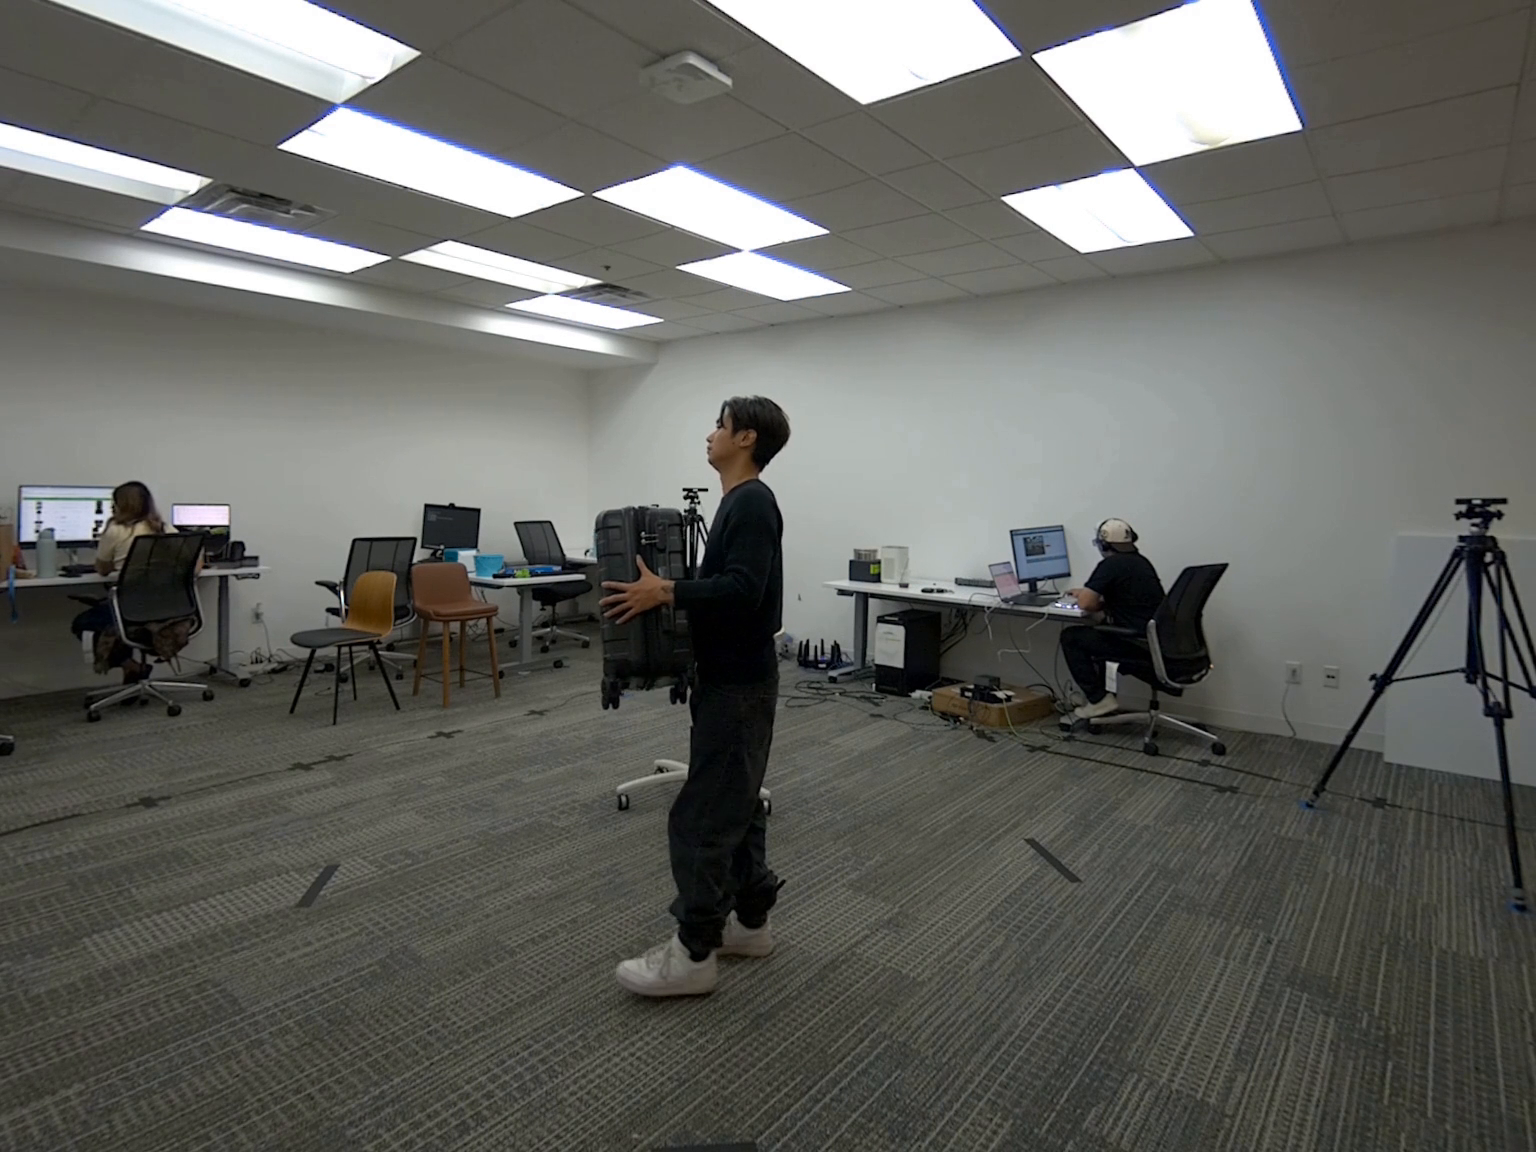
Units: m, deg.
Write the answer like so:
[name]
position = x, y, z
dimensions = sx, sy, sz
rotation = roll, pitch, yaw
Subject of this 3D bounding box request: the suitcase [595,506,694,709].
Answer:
[suitcase]
position = -0.383, 0.079, 2.498
dimensions = 0.246, 0.559, 0.373
rotation = -3, -16, -10
